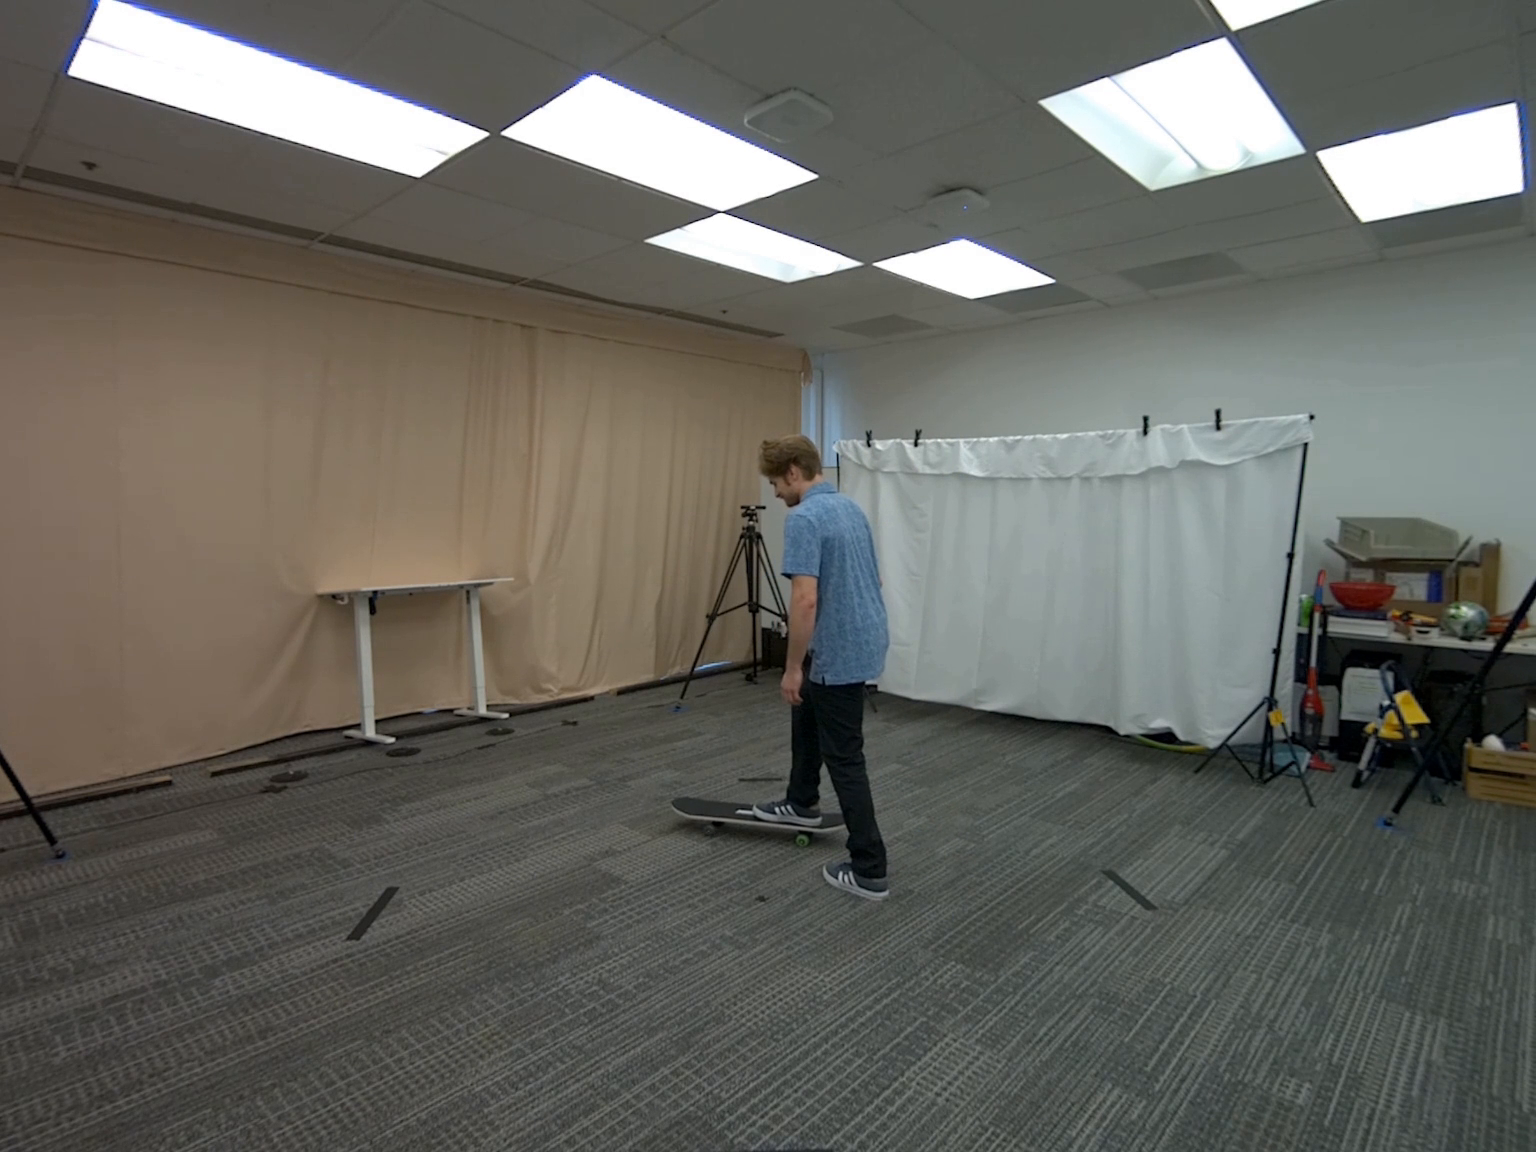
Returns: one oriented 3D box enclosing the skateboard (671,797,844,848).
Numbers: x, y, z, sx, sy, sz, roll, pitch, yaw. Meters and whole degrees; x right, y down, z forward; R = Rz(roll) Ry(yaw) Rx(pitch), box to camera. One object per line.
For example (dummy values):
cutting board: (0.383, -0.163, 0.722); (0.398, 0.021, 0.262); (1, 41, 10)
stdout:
skateboard: (-0.034, 1.037, 3.564); (0.799, 0.110, 0.190); (1, 5, 16)
